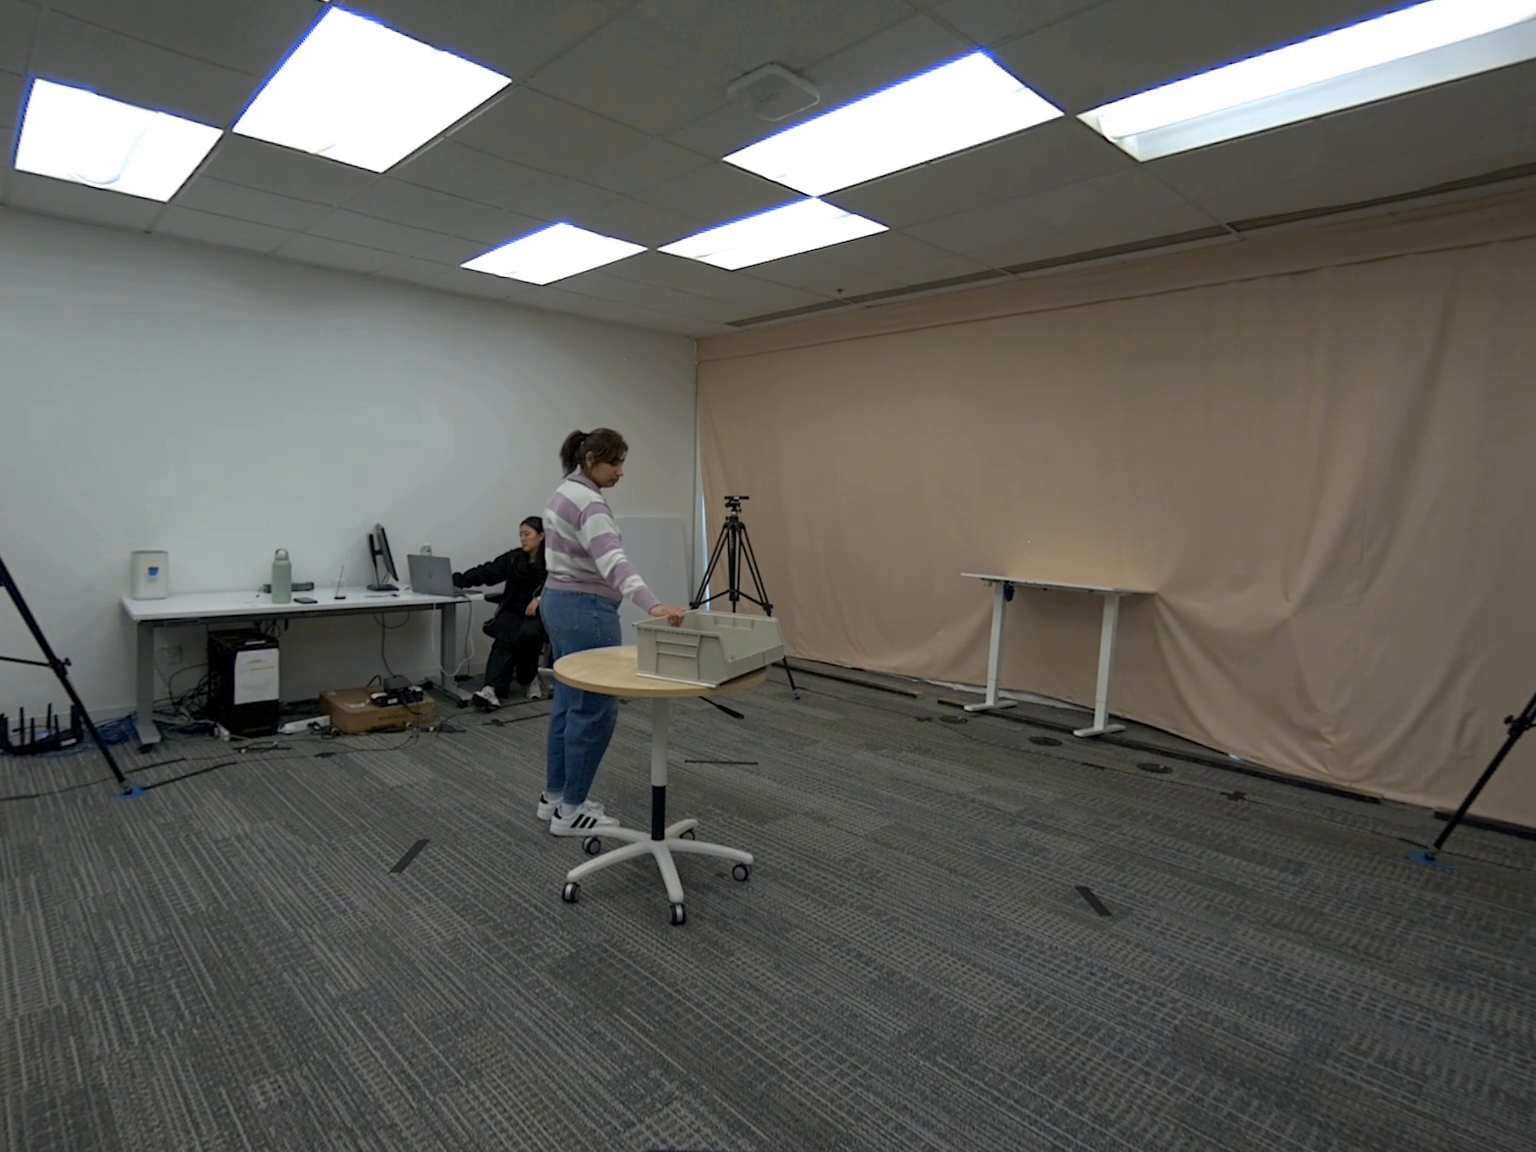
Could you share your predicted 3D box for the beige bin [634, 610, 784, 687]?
[{"bbox_3d":[-0.204,0.248,2.927,0.385,0.188,0.415,2,5,27],"label":"beige bin"}]
